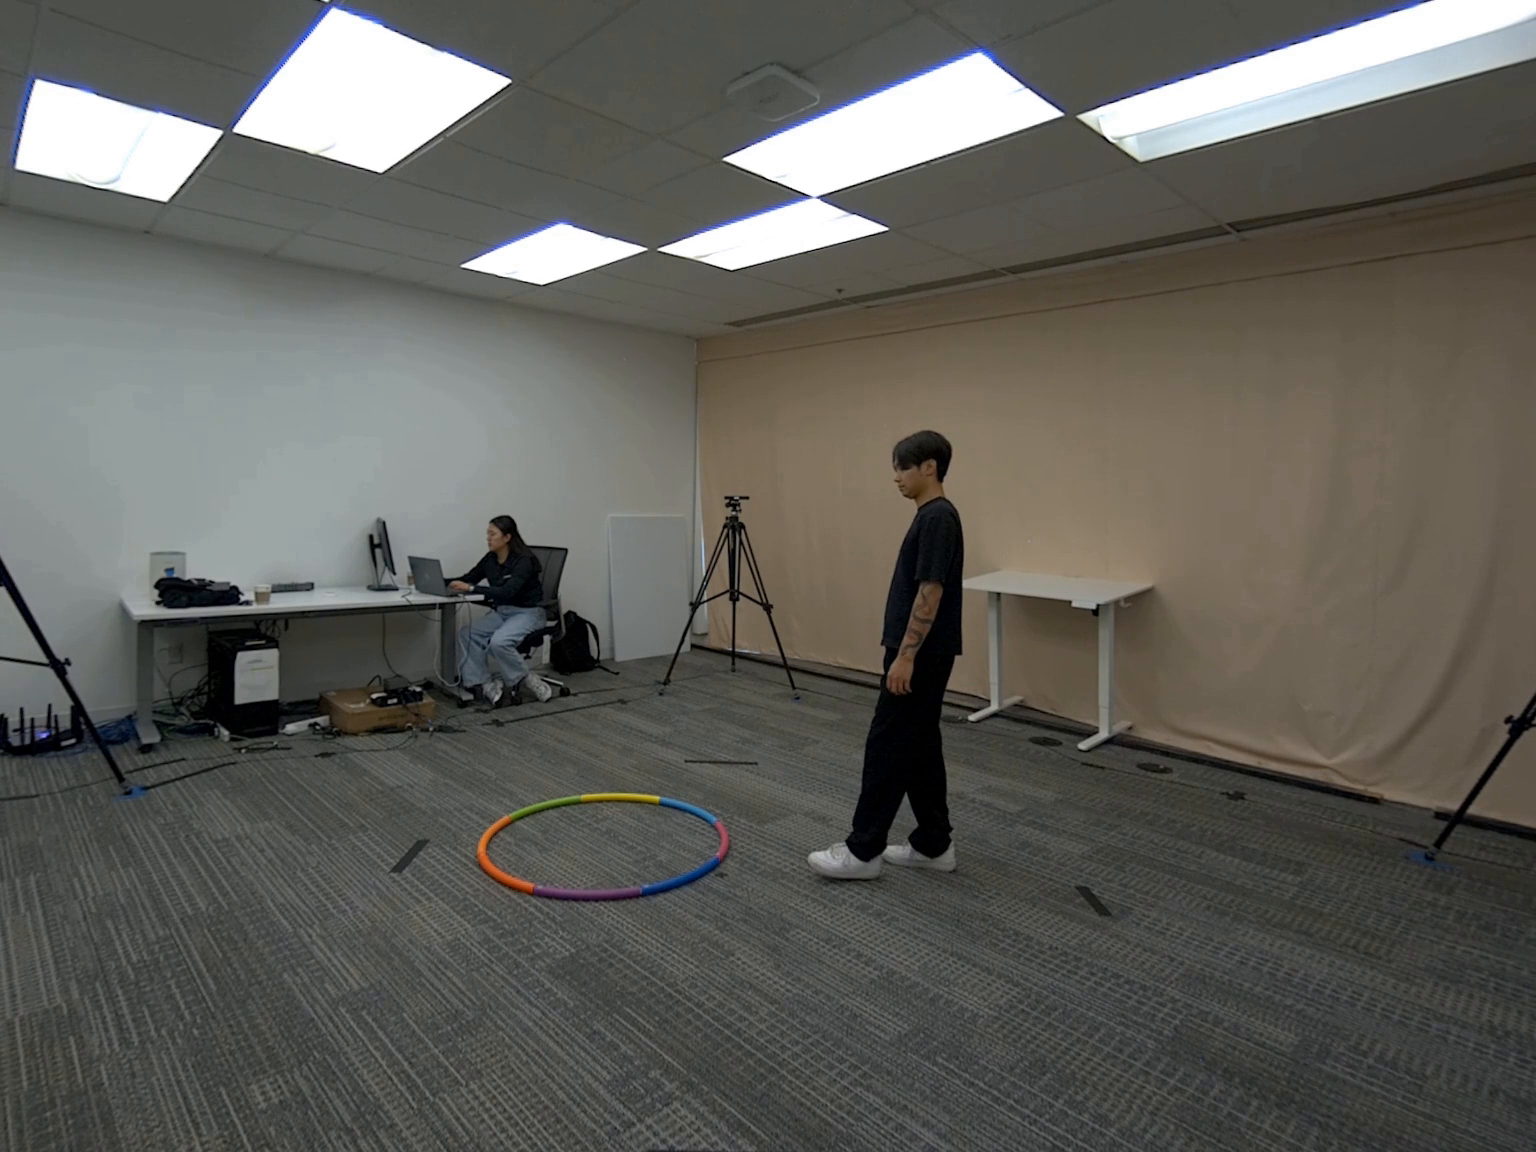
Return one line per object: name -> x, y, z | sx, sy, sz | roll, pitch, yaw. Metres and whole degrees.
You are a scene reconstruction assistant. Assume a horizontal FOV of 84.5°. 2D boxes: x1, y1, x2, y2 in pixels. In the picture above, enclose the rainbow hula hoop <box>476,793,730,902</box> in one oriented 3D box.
rainbow hula hoop -> -0.645, 1.039, 3.361 | 0.978, 0.035, 0.982 | 1, 5, -1
